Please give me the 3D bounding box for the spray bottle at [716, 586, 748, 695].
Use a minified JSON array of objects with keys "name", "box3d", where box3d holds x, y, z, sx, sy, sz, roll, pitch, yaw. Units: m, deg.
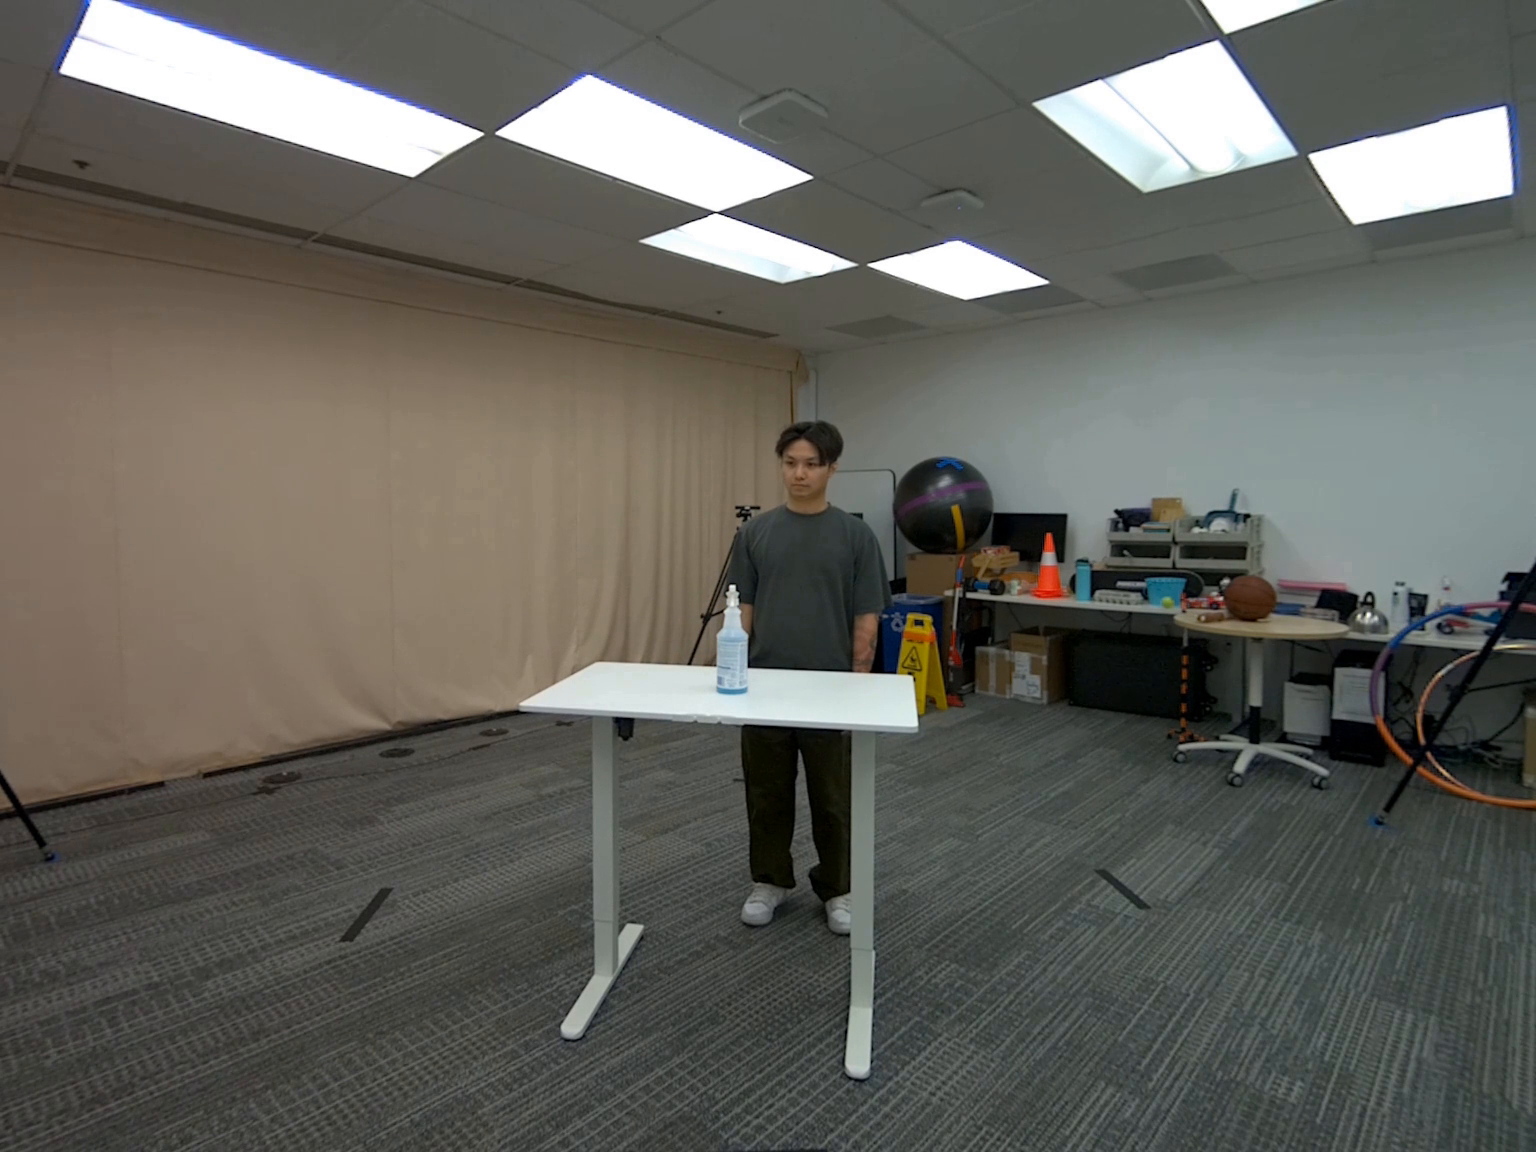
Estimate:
[{"name":"spray bottle","box3d":[-0.094,0.172,2.315,0.089,0.296,0.088,3,5,24]}]
